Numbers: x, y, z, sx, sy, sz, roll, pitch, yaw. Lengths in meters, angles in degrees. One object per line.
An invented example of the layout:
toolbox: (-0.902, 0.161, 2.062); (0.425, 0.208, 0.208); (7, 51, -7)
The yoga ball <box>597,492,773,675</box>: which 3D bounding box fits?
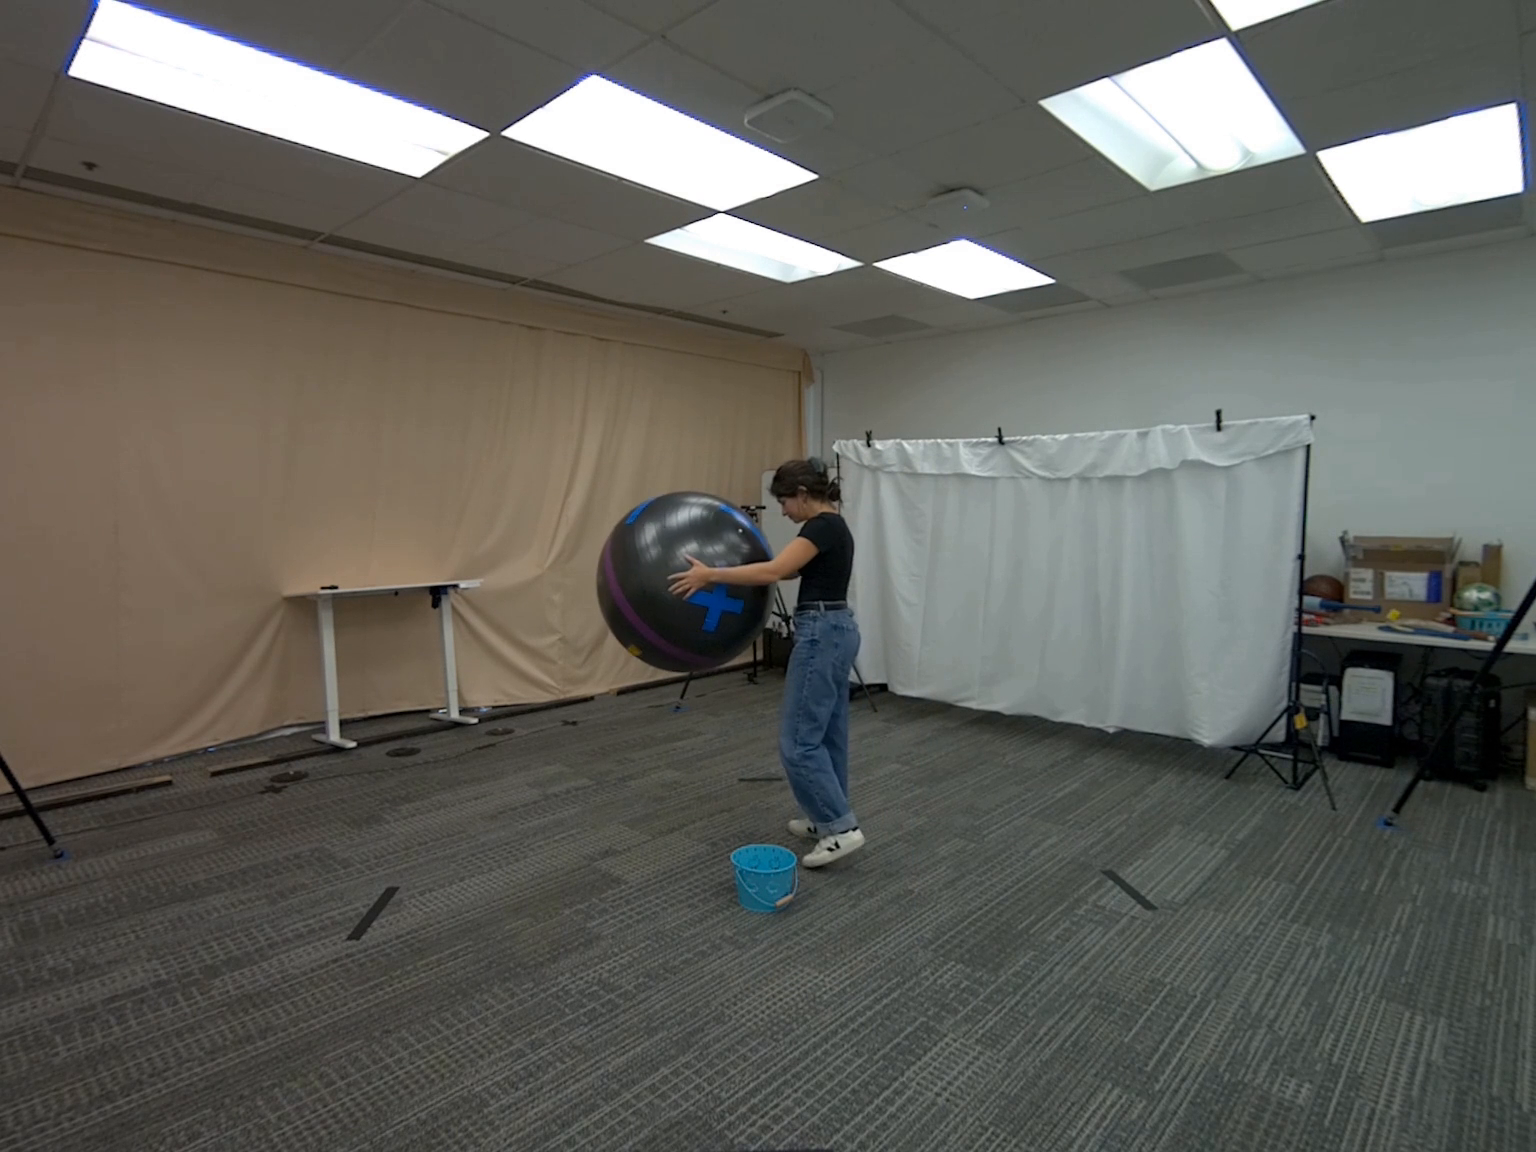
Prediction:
yoga ball: (-0.336, 0.028, 3.549); (0.757, 0.756, 0.760); (0, 4, -2)
